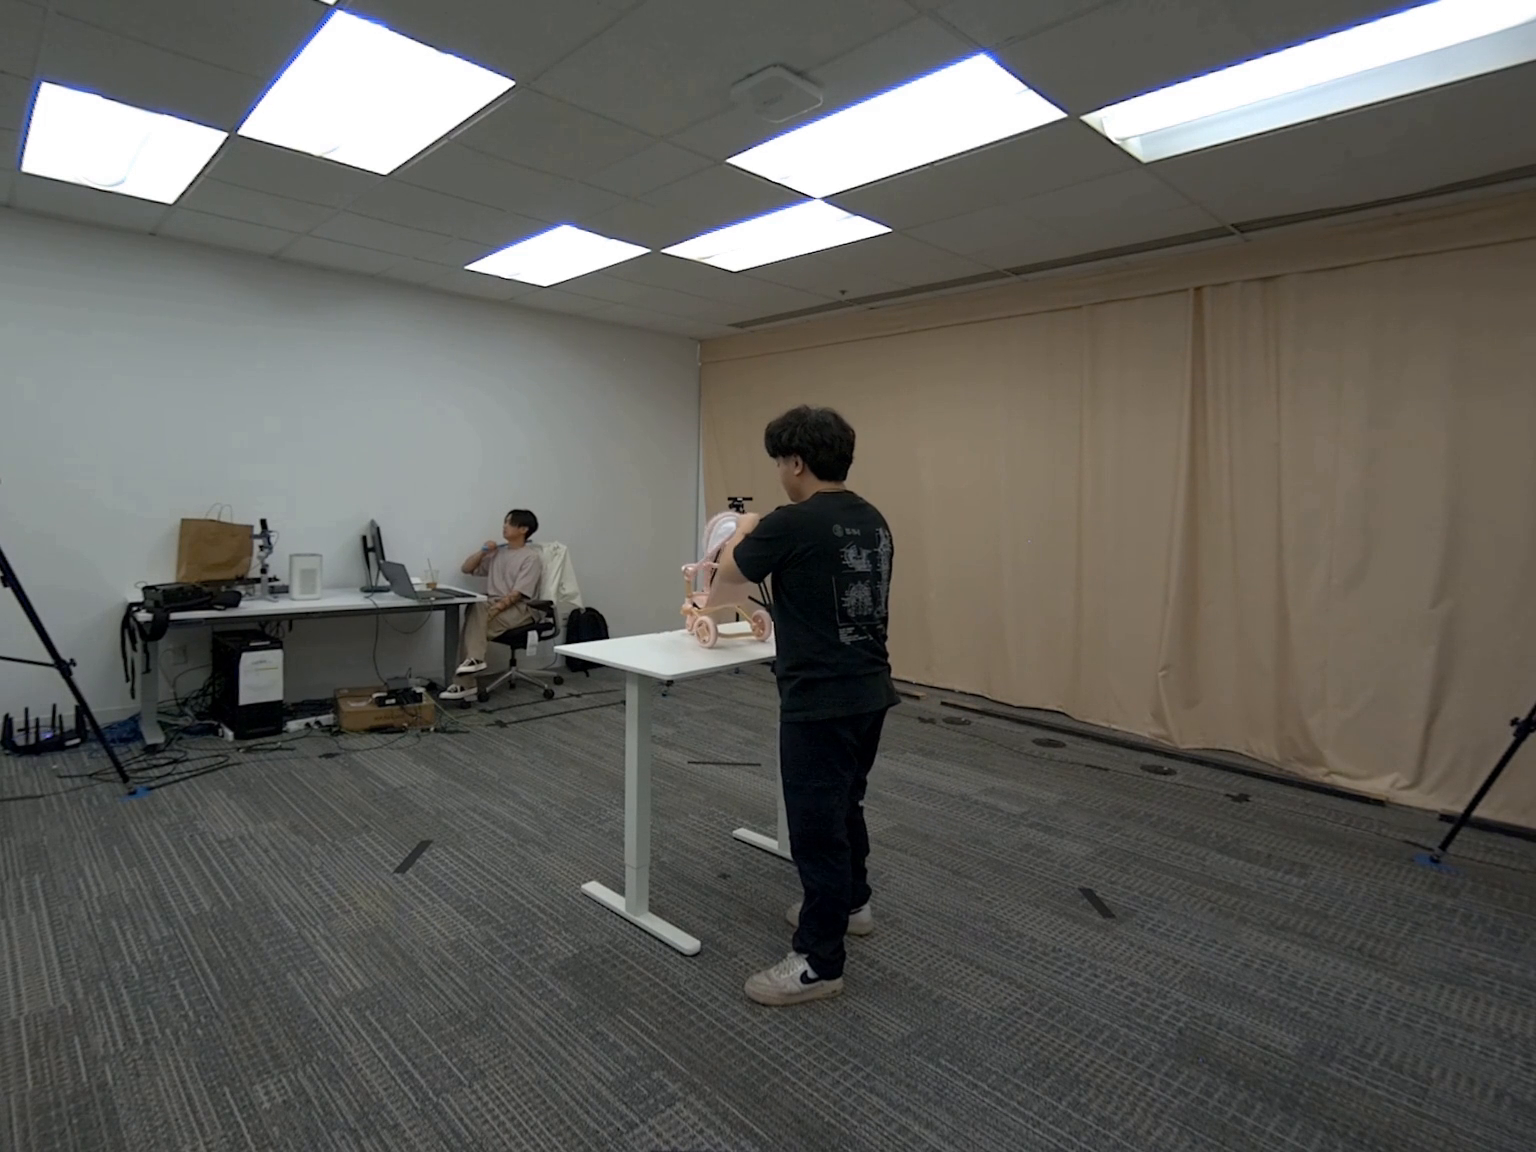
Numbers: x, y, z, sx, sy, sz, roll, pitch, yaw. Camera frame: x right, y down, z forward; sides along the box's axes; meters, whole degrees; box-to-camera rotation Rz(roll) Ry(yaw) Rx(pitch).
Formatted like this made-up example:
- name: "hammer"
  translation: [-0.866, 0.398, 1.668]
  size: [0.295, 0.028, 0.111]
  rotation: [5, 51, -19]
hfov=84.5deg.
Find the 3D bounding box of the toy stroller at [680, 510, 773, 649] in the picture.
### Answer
- name: "toy stroller"
  translation: [-0.158, 0.013, 2.970]
  size: [0.275, 0.530, 0.352]
  rotation: [-2, 20, -35]
